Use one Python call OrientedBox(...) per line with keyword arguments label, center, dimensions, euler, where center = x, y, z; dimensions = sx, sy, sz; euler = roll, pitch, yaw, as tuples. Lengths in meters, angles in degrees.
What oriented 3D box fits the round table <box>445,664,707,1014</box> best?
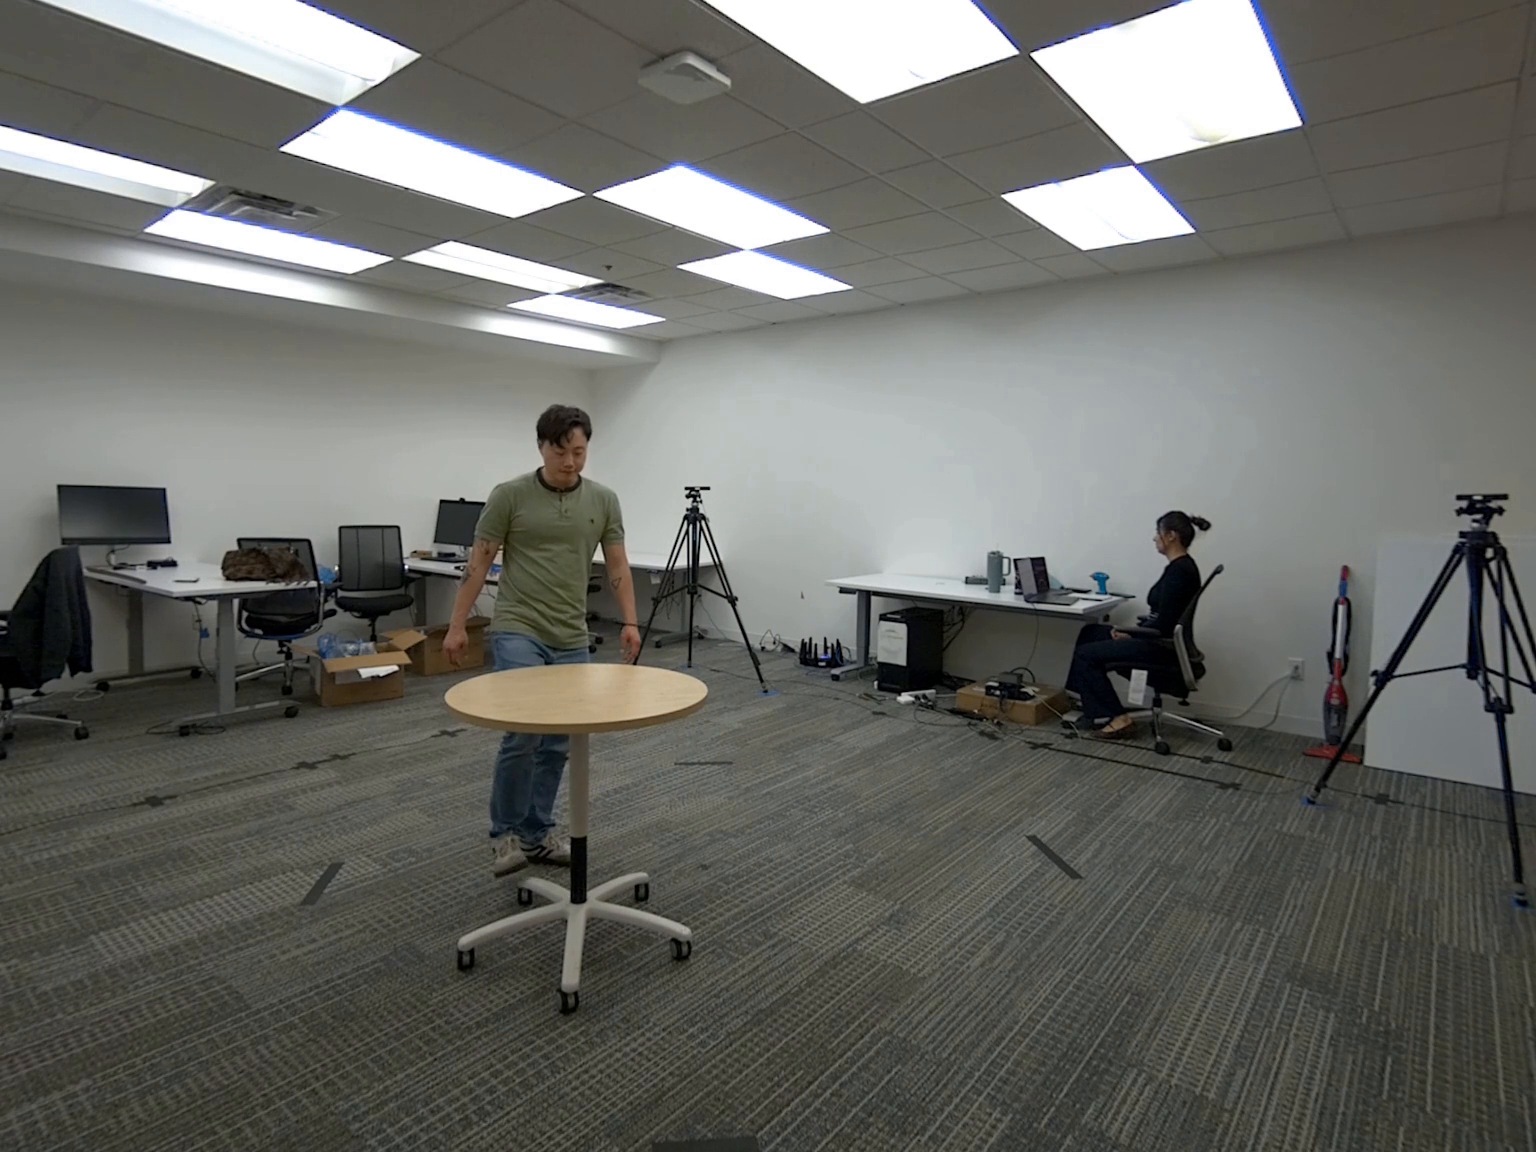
OrientedBox(label="round table", center=(-0.569, 0.729, 2.547), dimensions=(0.763, 0.791, 0.768), euler=(1, 4, -2))
